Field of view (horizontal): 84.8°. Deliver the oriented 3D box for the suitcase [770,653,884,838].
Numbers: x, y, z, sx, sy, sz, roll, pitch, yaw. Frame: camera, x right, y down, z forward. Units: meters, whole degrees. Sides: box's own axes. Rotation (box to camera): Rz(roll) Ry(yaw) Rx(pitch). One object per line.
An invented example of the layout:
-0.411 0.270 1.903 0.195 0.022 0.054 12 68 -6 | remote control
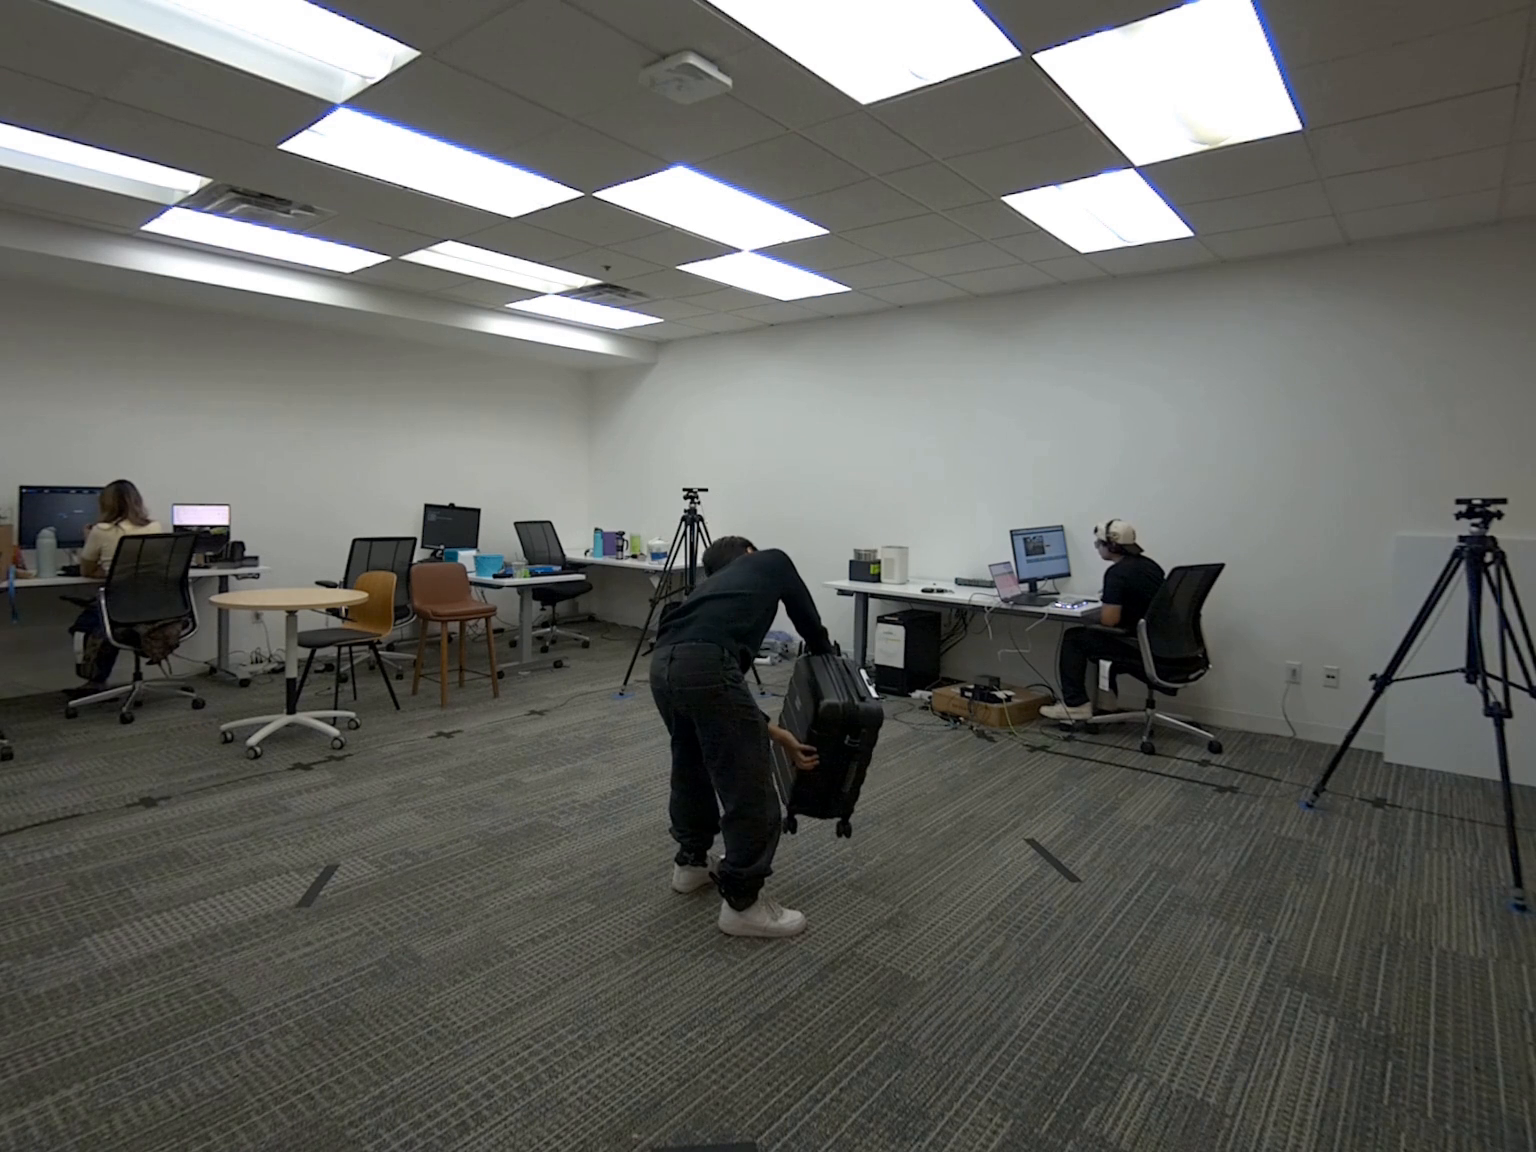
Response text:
0.186 0.566 2.961 0.245 0.540 0.387 7 26 -13 | suitcase
